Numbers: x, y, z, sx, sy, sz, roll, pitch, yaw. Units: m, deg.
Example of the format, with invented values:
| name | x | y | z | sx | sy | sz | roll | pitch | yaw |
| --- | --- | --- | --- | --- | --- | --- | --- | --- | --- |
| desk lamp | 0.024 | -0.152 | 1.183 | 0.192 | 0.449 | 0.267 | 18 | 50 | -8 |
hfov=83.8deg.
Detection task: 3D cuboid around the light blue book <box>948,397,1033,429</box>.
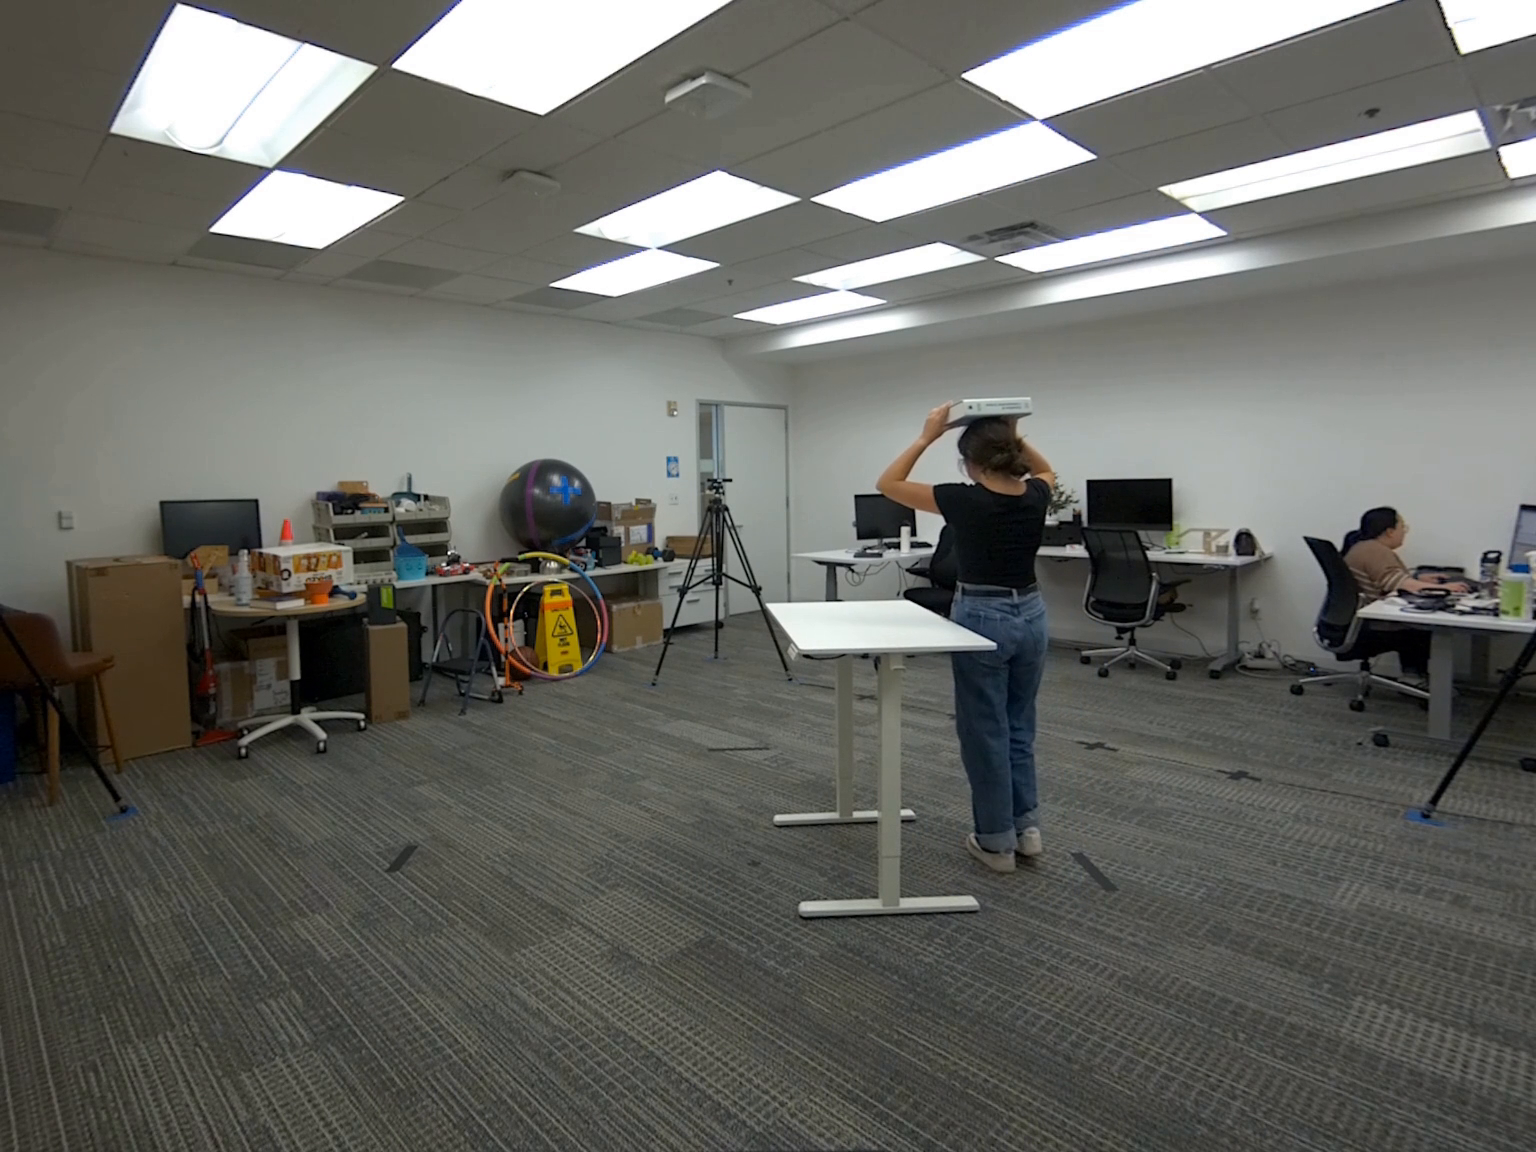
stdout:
| name | x | y | z | sx | sy | sz | roll | pitch | yaw |
| --- | --- | --- | --- | --- | --- | --- | --- | --- | --- |
| light blue book | 0.772 | -0.576 | 2.983 | 0.258 | 0.059 | 0.193 | -4 | -1 | -12 |
